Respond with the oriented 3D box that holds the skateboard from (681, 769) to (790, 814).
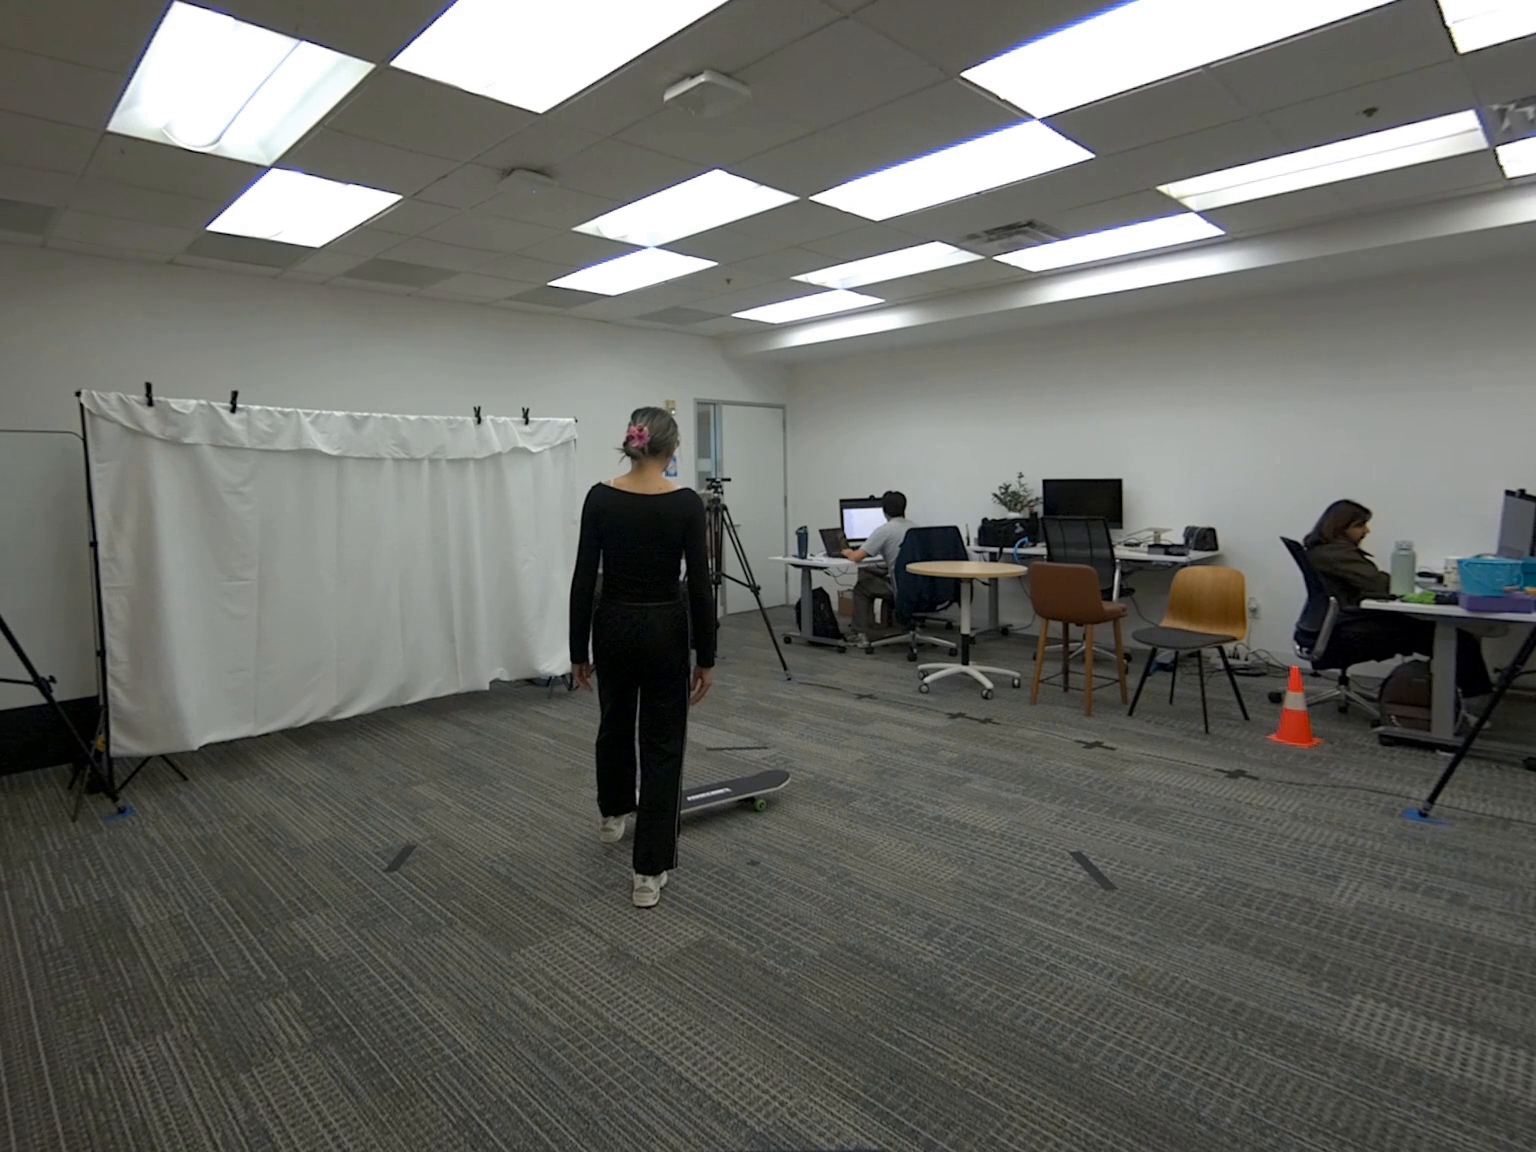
[{"bbox_3d":[-0.248,0.937,3.554,0.767,0.110,0.199,-6,7,-31],"label":"skateboard"}]
